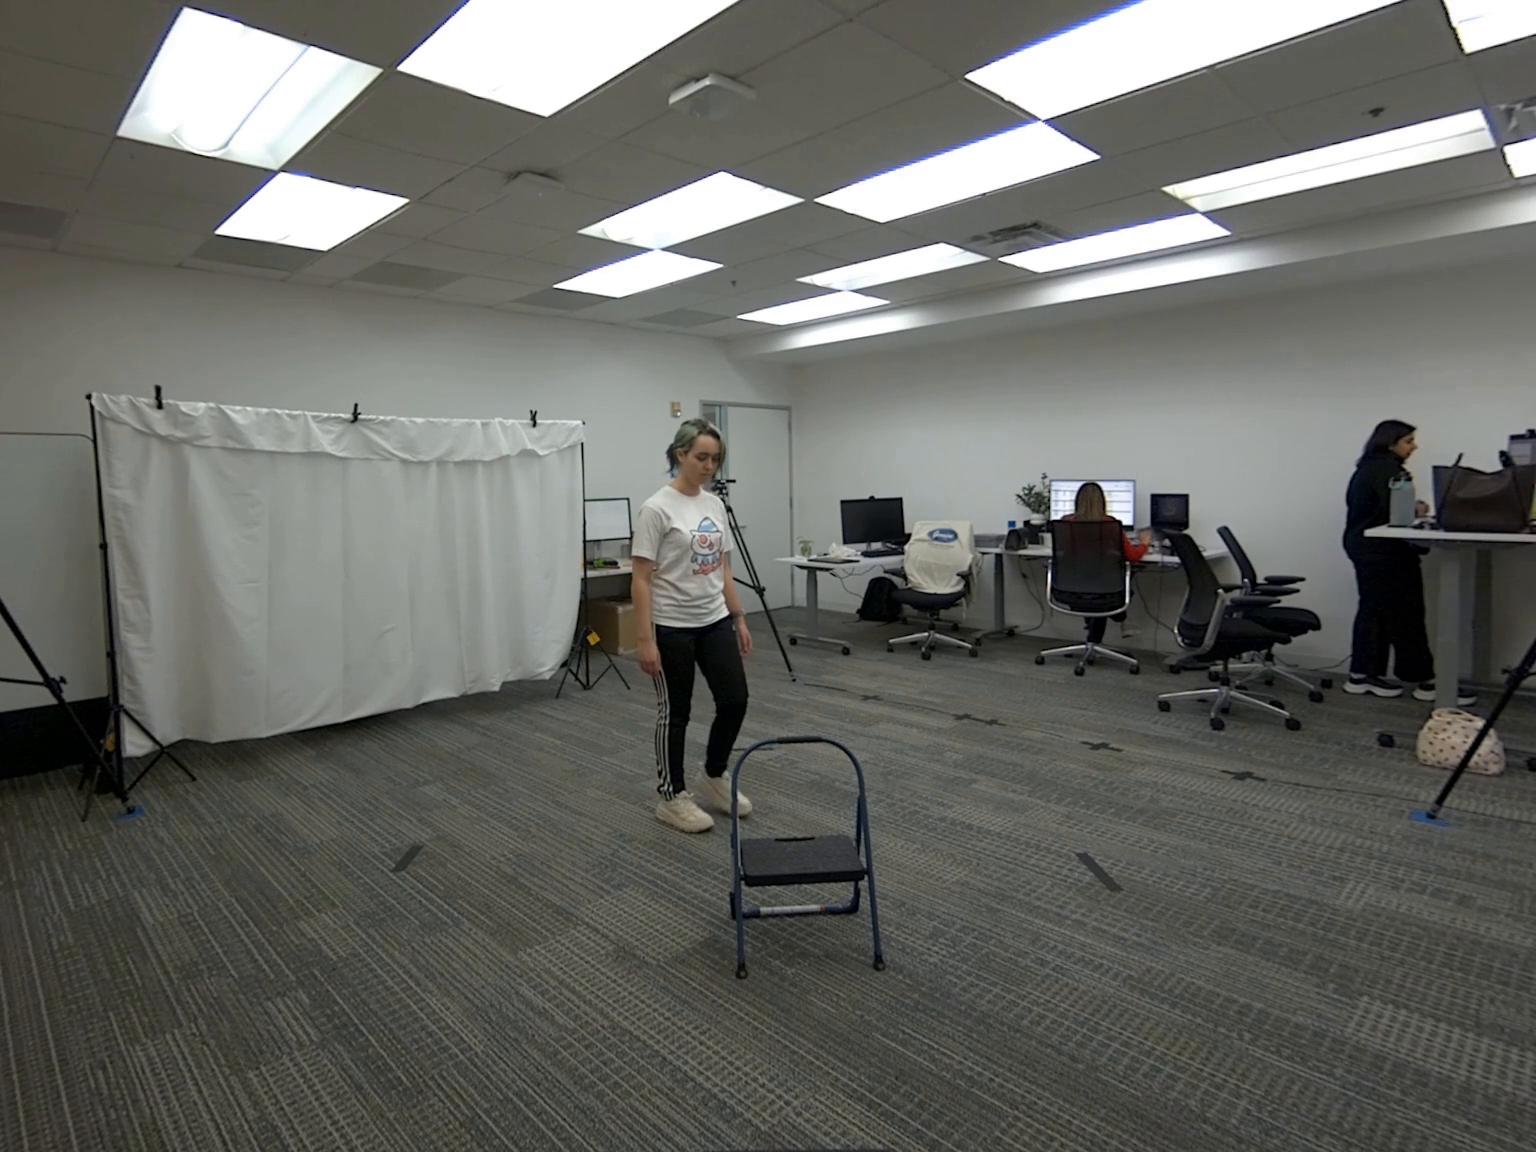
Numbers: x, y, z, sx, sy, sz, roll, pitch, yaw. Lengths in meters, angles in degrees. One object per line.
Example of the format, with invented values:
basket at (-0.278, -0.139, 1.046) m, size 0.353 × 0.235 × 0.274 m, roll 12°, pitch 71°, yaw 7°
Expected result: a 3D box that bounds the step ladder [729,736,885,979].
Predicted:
step ladder at (0.104, 0.806, 2.566) m, size 0.428 × 0.604 × 0.352 m, roll -1°, pitch 4°, yaw -6°
